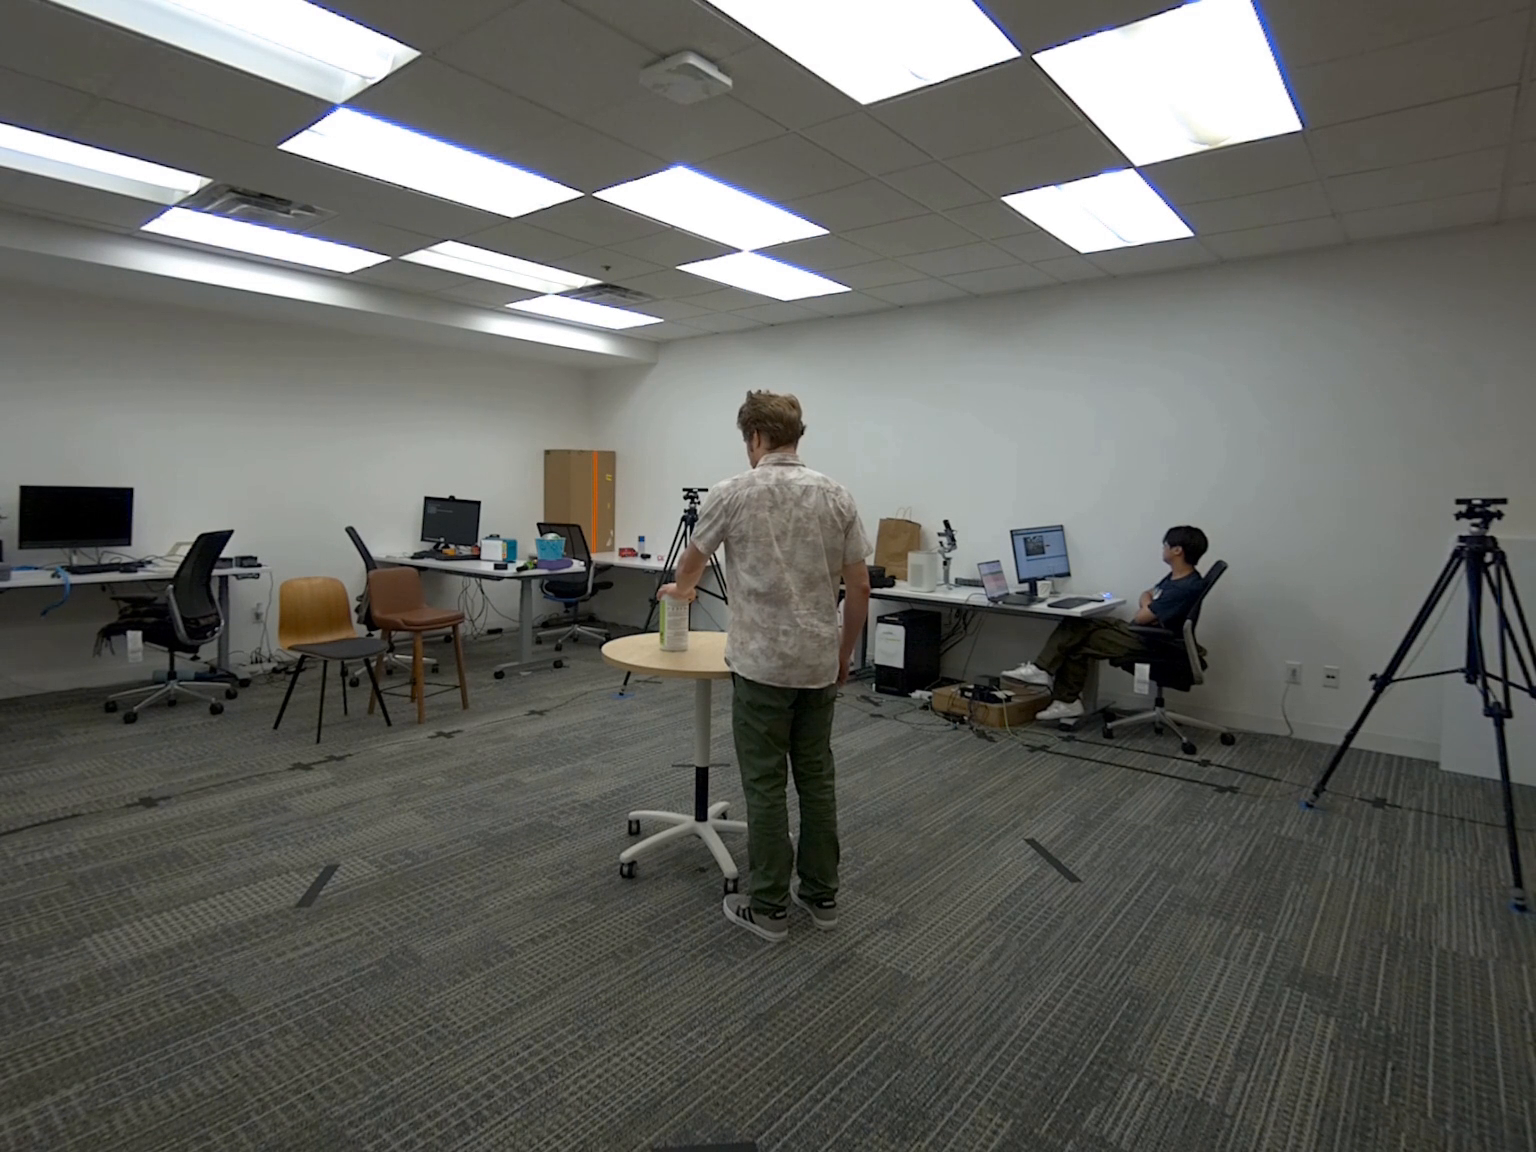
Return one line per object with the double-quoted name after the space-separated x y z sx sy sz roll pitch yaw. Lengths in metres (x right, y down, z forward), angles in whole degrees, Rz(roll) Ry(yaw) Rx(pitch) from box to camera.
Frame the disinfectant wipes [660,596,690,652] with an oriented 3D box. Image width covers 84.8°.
-0.361 0.167 3.169 0.118 0.217 0.118 -2 2 -2 "disinfectant wipes"
